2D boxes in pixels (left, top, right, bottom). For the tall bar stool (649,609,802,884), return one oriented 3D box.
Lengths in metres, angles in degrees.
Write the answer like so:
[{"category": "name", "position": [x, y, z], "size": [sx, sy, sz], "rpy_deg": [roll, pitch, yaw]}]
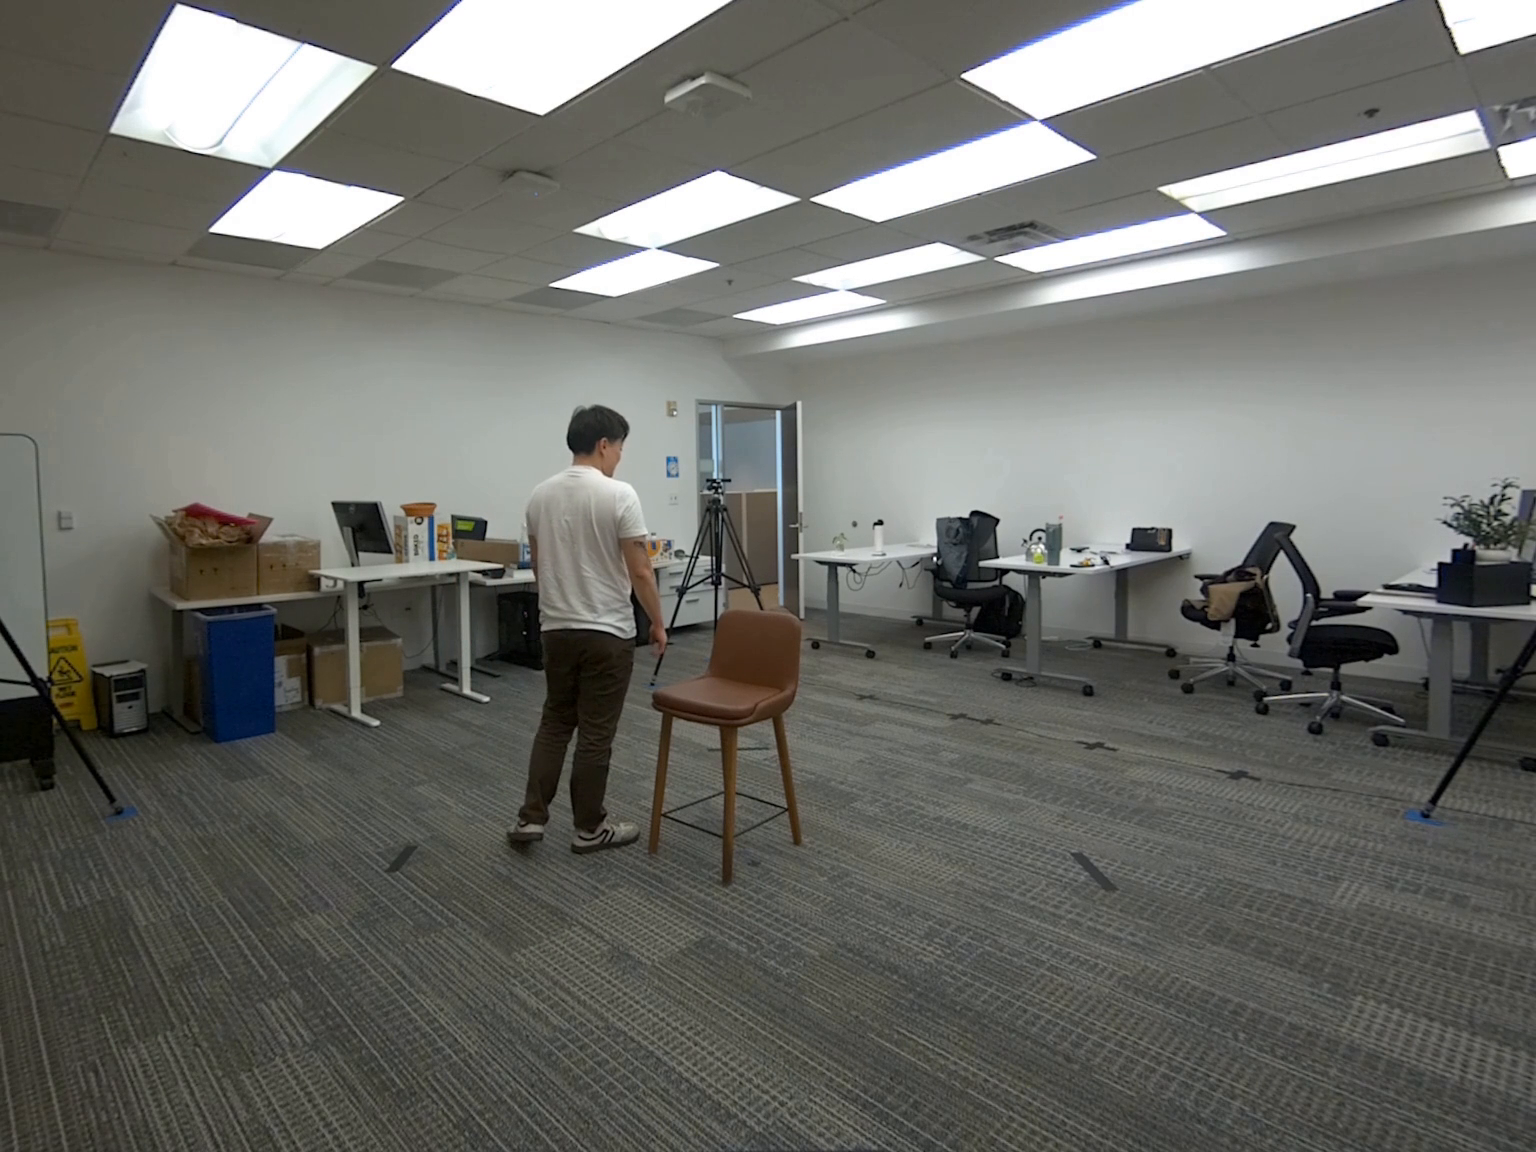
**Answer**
[{"category": "tall bar stool", "position": [-0.156, 0.597, 3.210], "size": [0.470, 0.888, 0.454], "rpy_deg": [3, 3, 41]}]
